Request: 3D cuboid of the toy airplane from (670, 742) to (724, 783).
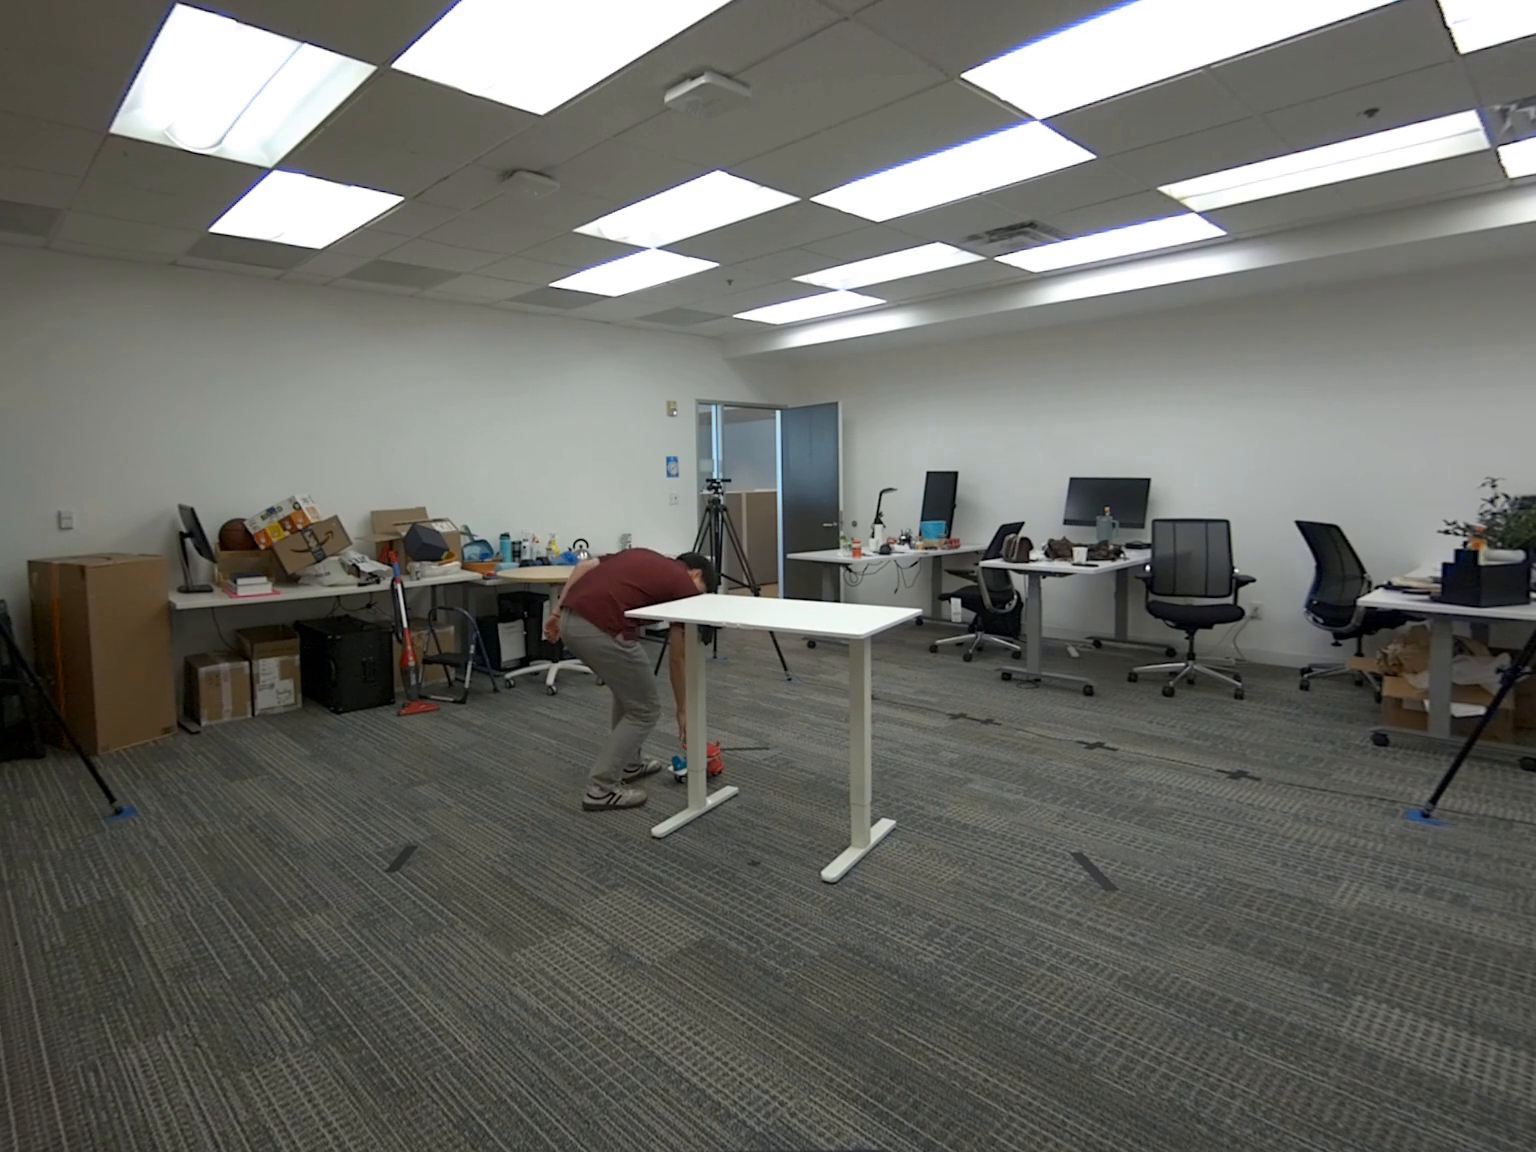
[{"bbox_3d":[-0.329,0.878,4.010,0.256,0.156,0.254,1,4,23],"label":"toy airplane"}]
